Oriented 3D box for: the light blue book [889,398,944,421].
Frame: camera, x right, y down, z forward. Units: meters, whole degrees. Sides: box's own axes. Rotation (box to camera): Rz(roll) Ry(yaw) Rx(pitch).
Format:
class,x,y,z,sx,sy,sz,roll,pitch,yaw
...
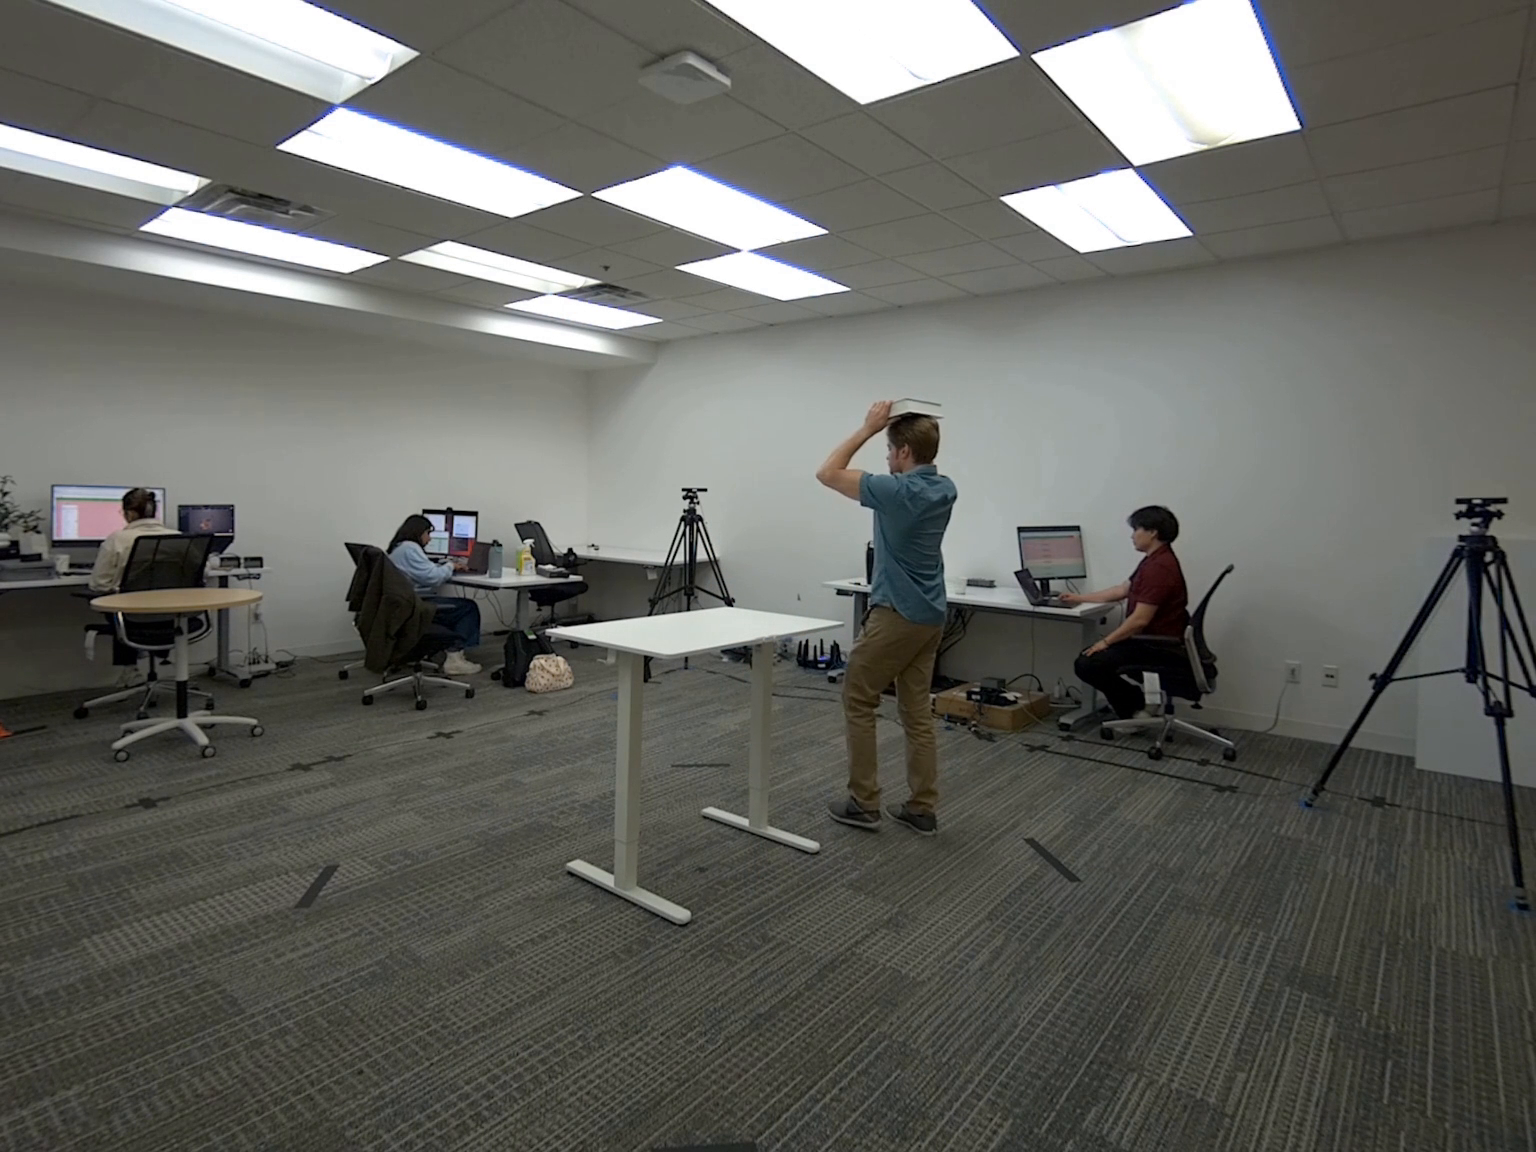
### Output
class,x,y,z,sx,sy,sz,roll,pitch,yaw
light blue book,0.561,-0.668,3.485,0.196,0.059,0.253,-7,-3,42
